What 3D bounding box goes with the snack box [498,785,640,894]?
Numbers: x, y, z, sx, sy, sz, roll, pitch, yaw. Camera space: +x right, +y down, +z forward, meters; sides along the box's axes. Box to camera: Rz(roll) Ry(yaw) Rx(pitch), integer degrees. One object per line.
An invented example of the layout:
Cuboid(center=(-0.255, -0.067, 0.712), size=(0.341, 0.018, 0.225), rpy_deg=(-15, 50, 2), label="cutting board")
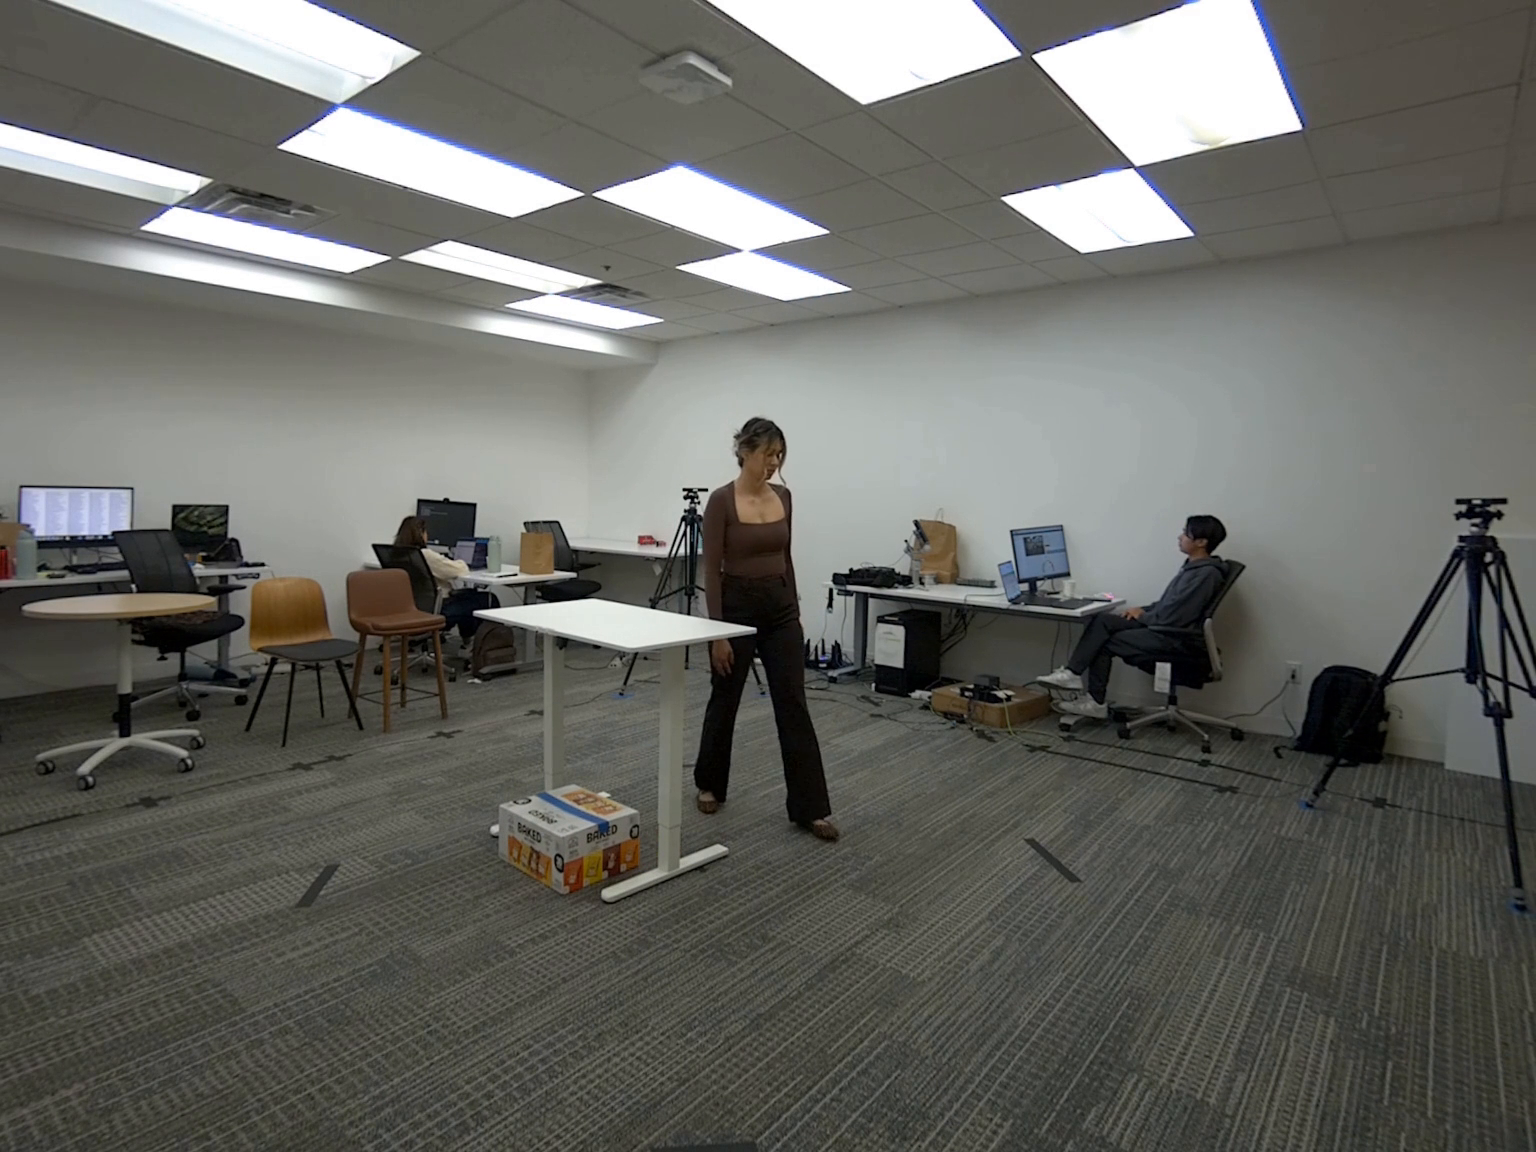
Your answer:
Cuboid(center=(-0.748, 0.957, 3.135), size=(0.419, 0.205, 0.330), rpy_deg=(5, 6, 42), label="snack box")
